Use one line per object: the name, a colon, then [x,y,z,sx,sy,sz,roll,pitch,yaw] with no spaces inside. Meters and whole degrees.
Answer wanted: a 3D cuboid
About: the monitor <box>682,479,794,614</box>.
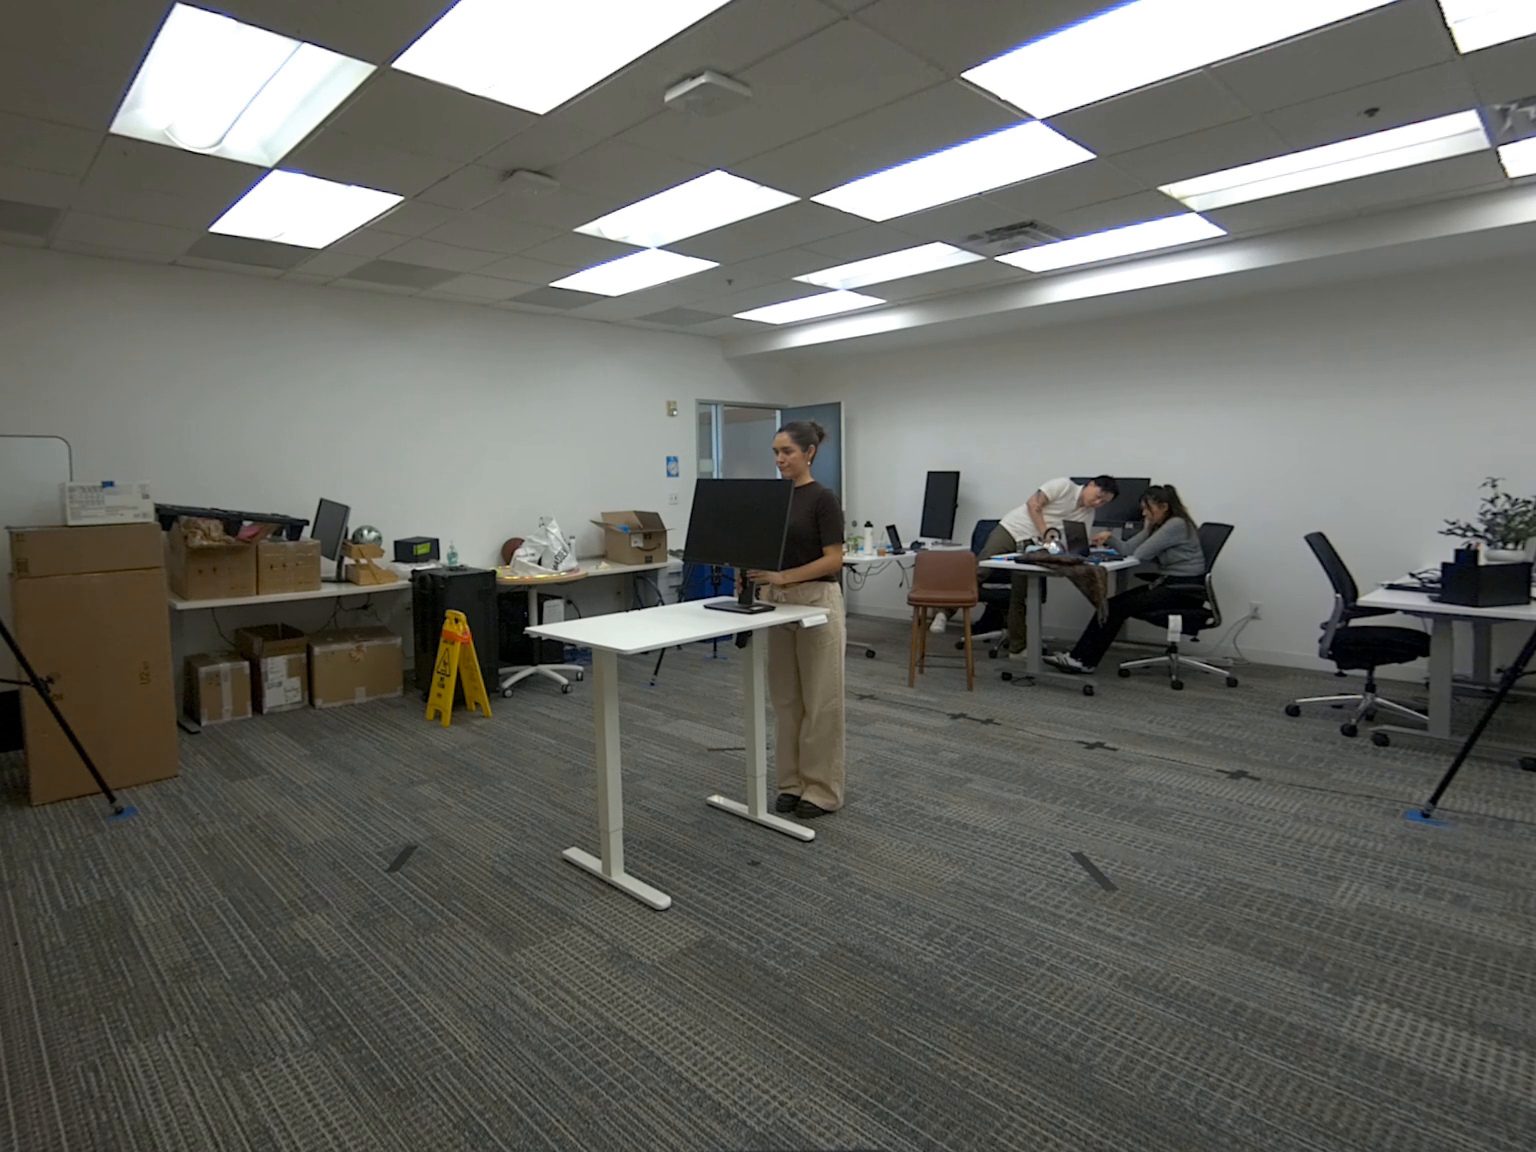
monitor: [-0.110,-0.126,3.367,0.547,0.512,0.170,6,11,43]
